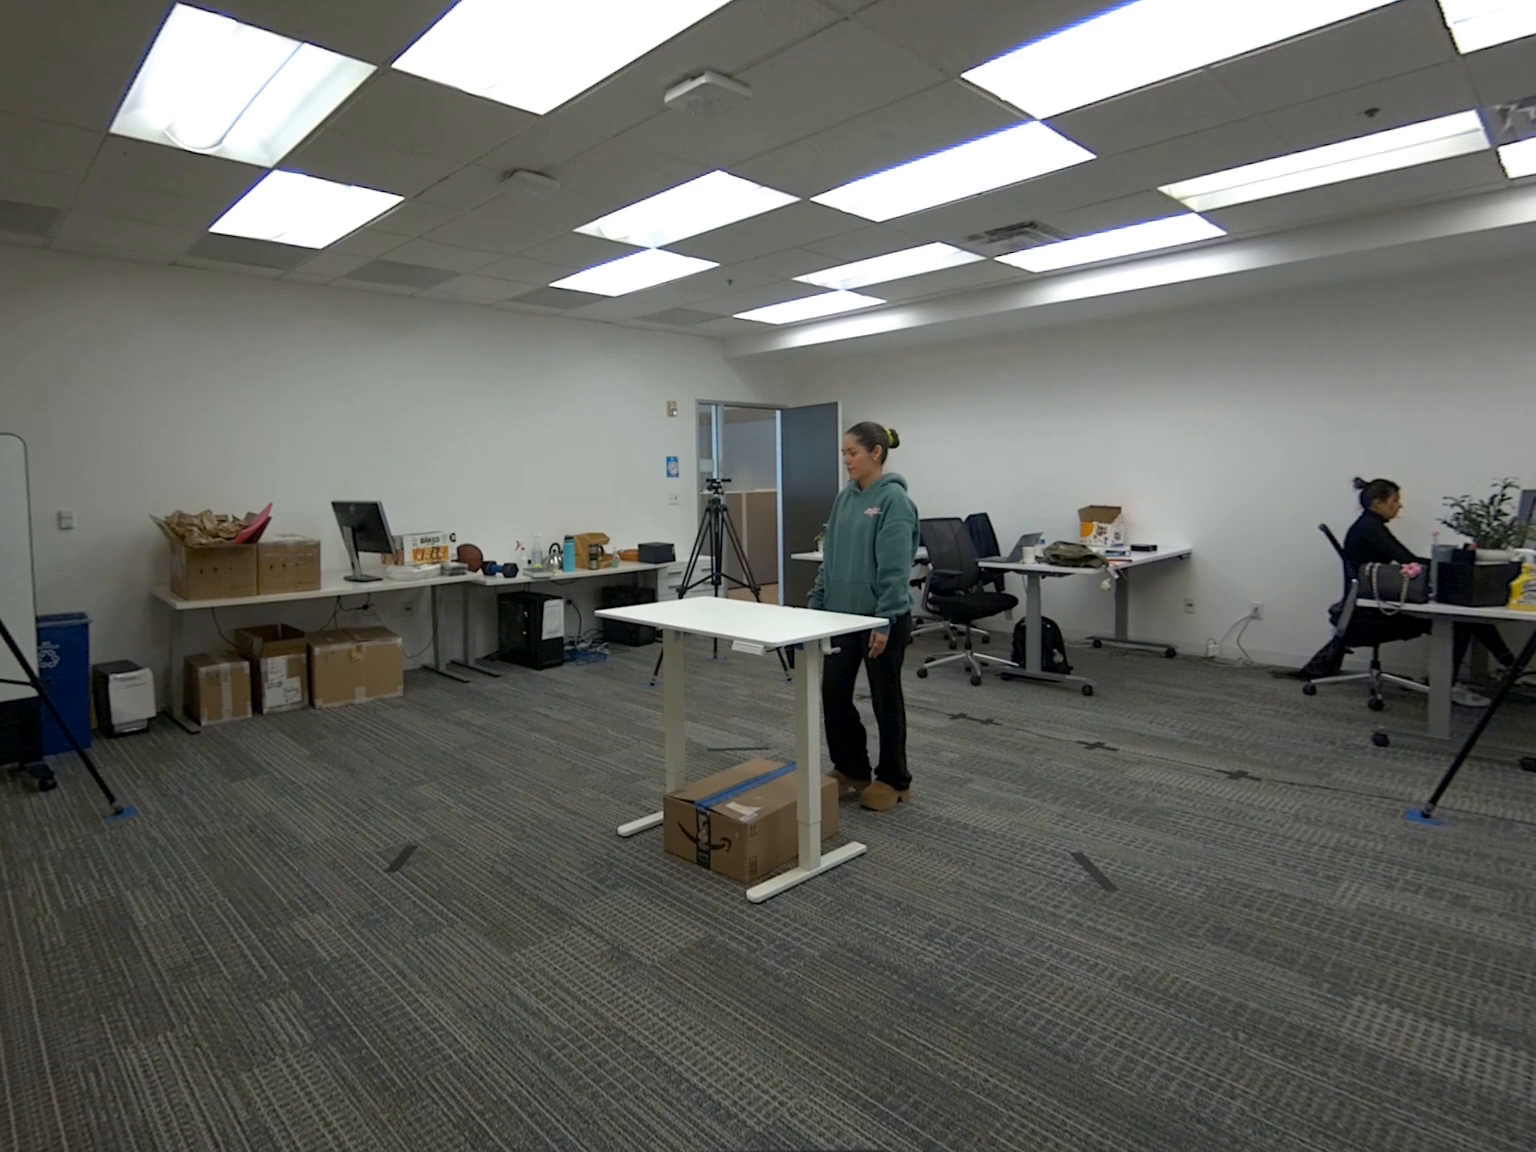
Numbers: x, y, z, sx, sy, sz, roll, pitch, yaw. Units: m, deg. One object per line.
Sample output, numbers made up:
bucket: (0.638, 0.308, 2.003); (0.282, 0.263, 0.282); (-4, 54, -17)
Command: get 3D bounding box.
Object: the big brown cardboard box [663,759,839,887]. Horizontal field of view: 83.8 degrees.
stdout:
big brown cardboard box: (-0.063, 0.909, 3.275); (0.430, 0.232, 0.573); (4, 7, 40)
